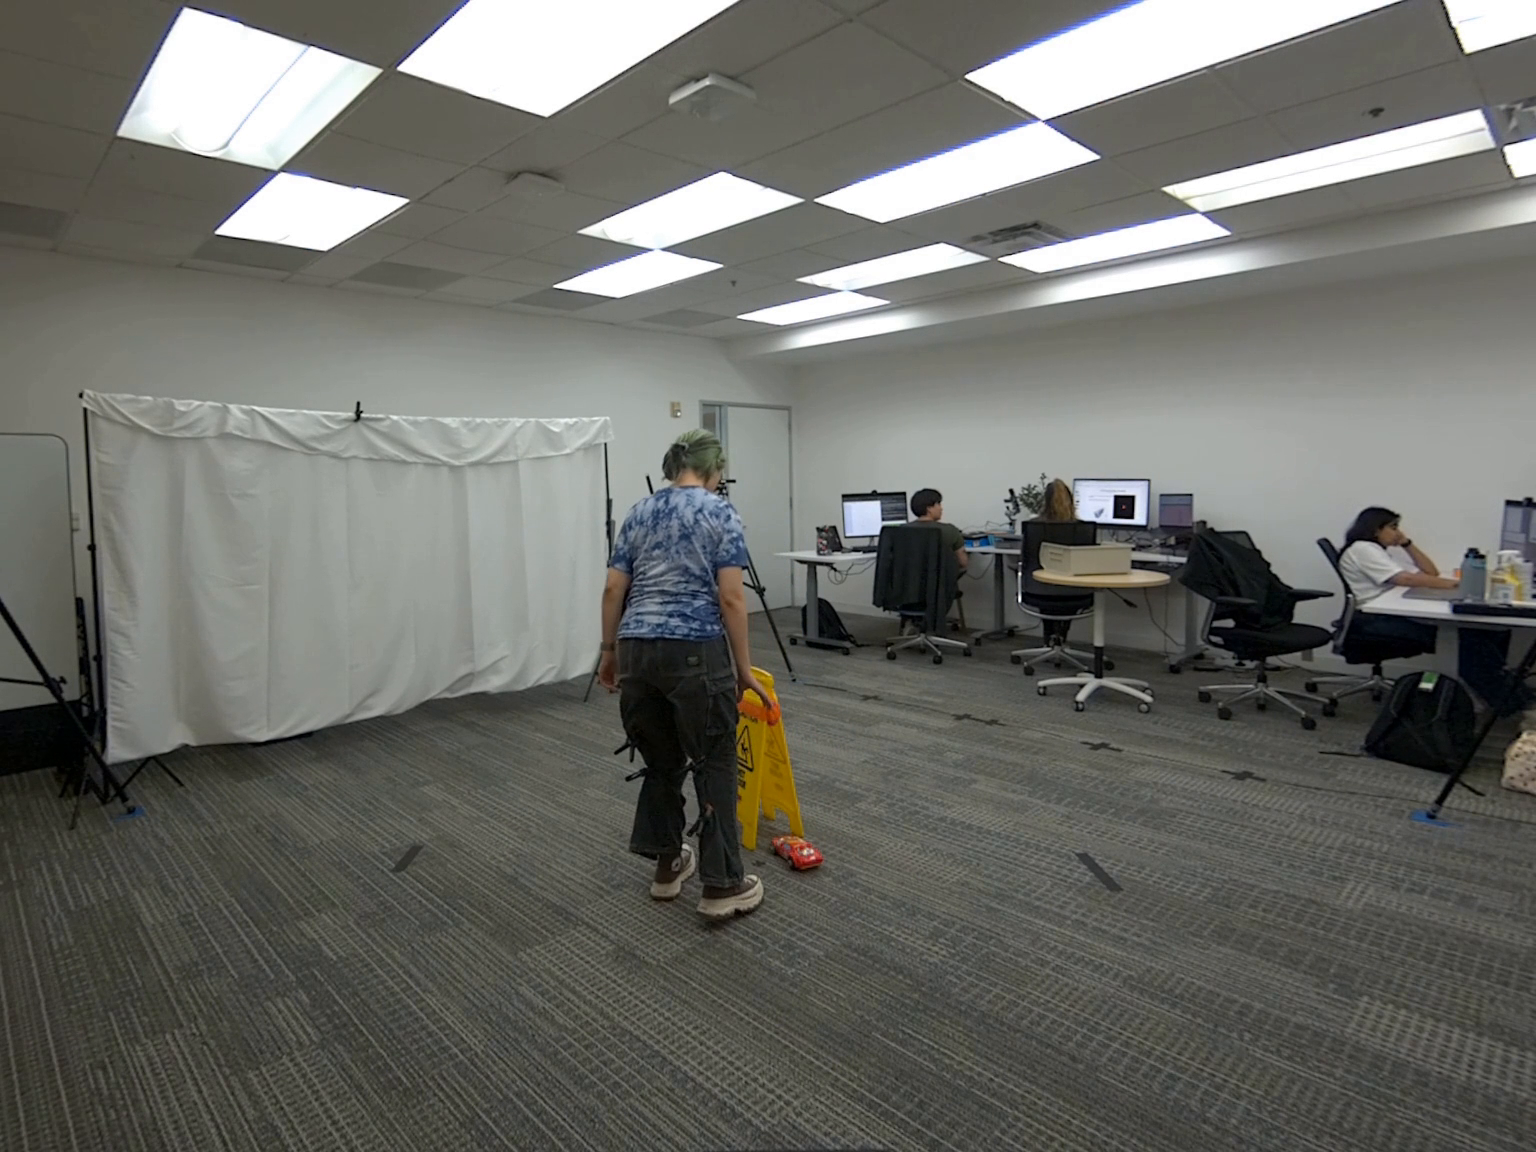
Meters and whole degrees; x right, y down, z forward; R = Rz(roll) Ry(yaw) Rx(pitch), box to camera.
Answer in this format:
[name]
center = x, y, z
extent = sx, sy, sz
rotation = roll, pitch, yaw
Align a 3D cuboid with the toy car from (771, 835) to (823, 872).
[toy car]
center = 0.108, 1.016, 3.116
extent = 0.128, 0.084, 0.257
rotation = -4, -7, -24
